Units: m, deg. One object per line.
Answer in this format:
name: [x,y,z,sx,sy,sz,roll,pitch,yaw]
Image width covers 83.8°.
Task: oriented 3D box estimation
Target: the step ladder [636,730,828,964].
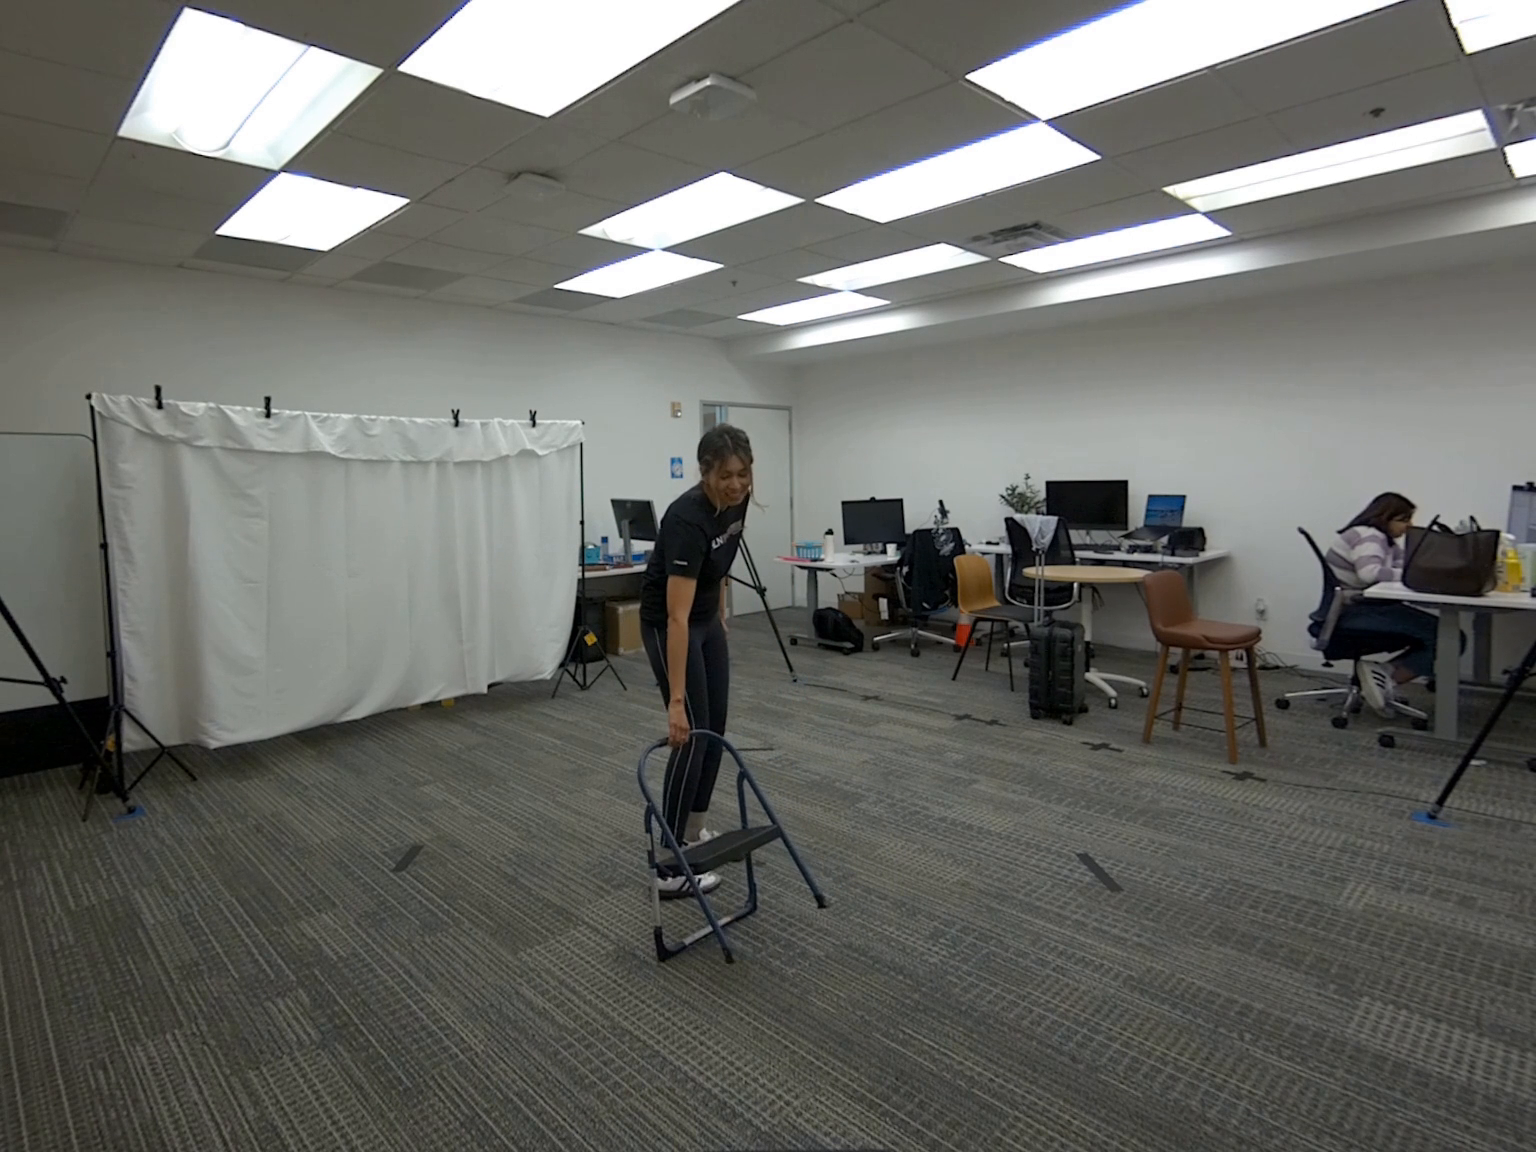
step ladder: [-0.151,0.769,2.587,0.419,0.614,0.354,-5,-16,-47]
